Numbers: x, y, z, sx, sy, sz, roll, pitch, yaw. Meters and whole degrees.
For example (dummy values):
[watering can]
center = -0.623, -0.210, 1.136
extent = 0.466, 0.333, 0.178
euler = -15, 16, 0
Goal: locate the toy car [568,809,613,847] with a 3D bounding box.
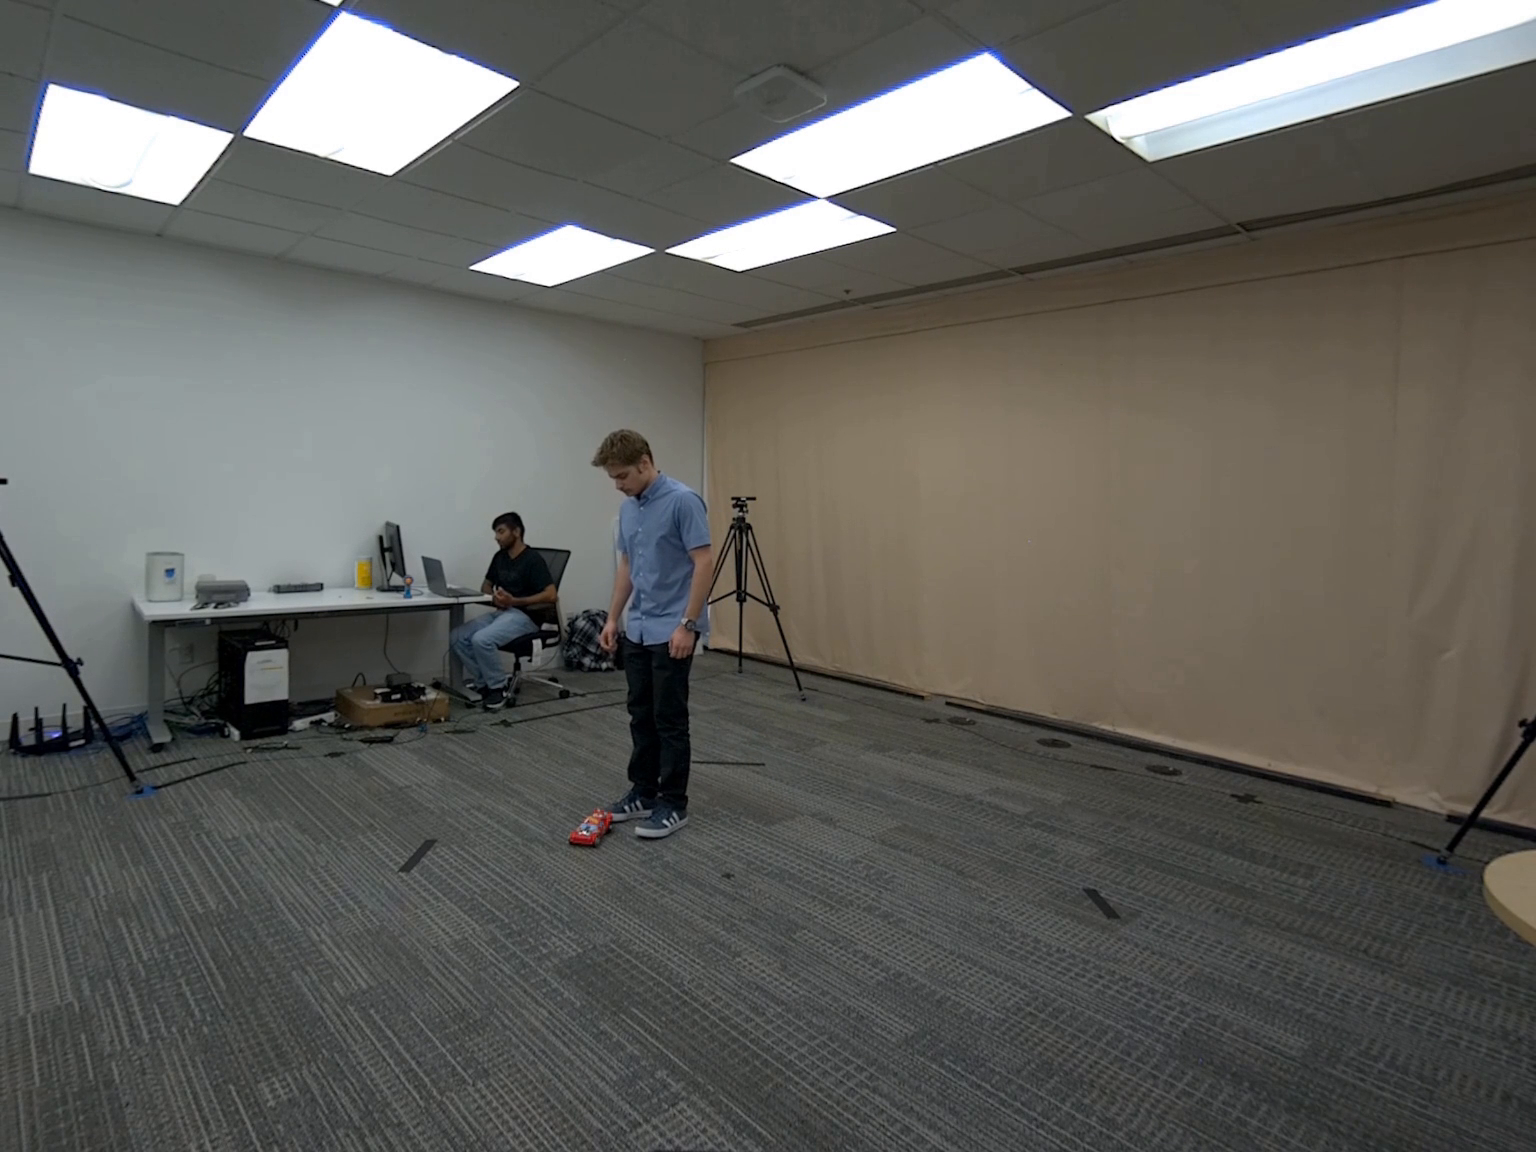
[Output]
[toy car]
center = -0.723, 1.036, 3.433
extent = 0.131, 0.082, 0.255
euler = 0, 15, 11
